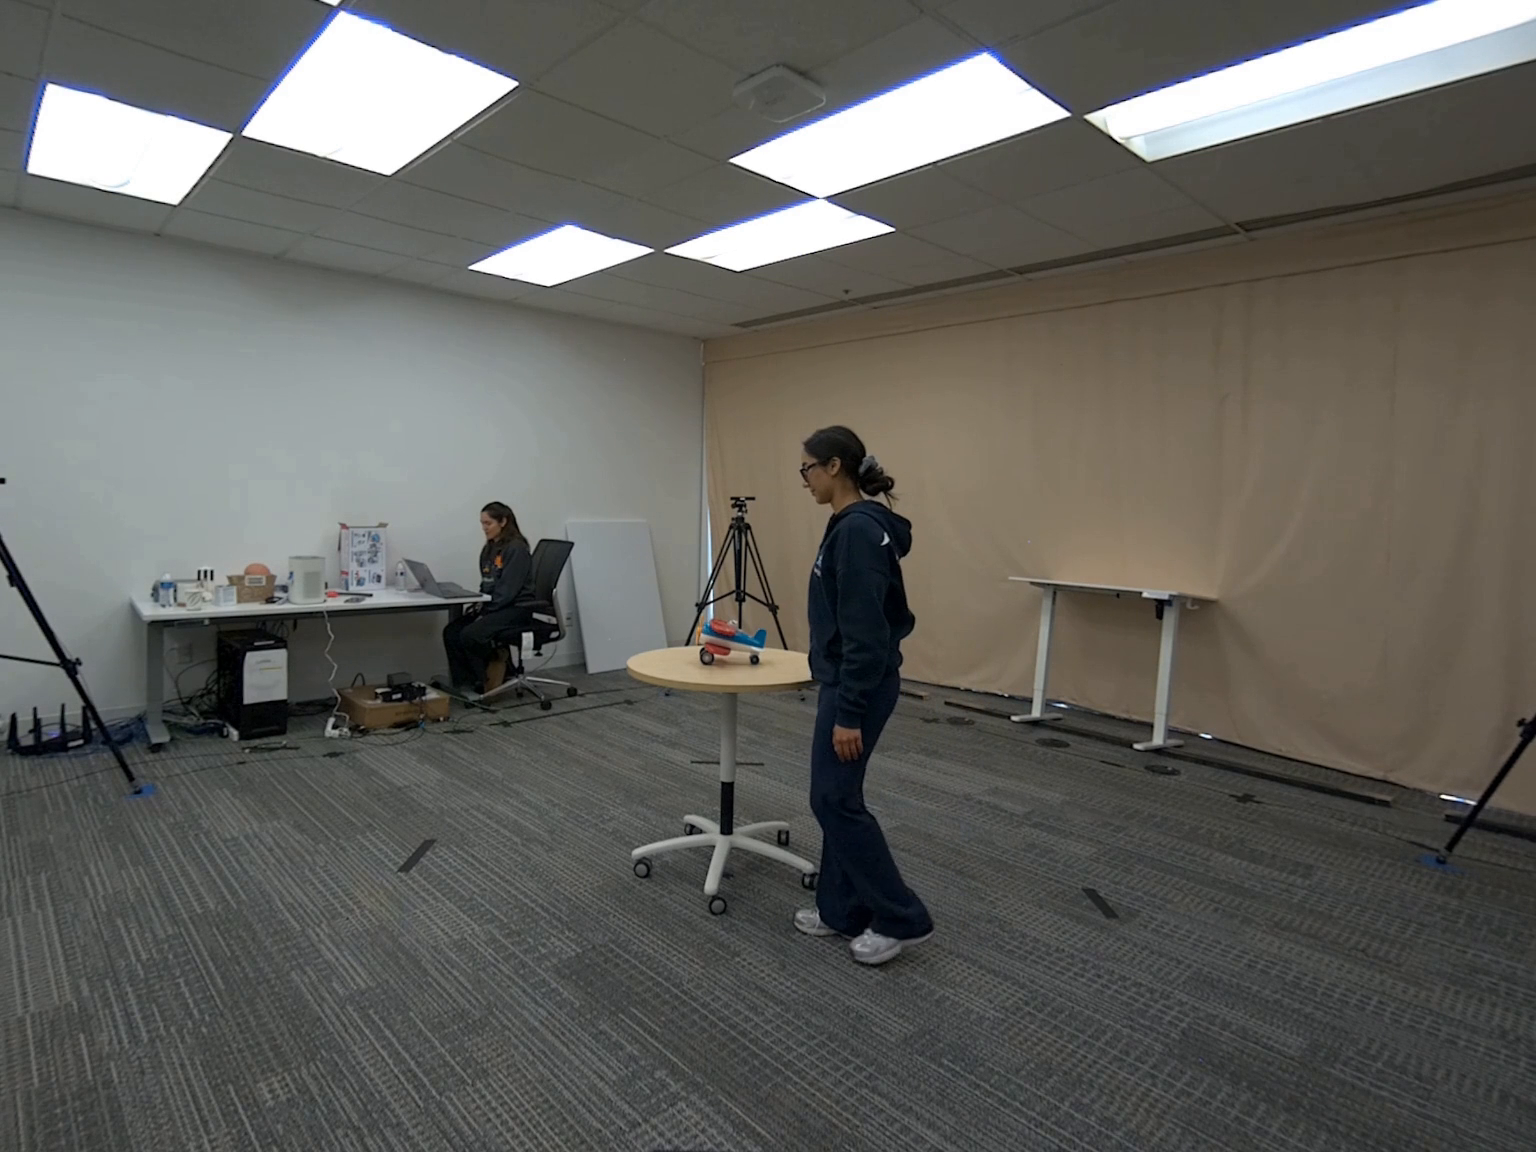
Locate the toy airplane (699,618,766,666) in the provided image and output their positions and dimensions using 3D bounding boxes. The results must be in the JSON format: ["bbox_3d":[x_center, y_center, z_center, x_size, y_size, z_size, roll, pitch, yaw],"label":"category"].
[{"bbox_3d":[-0.146,0.247,3.128,0.254,0.156,0.257,0,5,-29],"label":"toy airplane"}]
